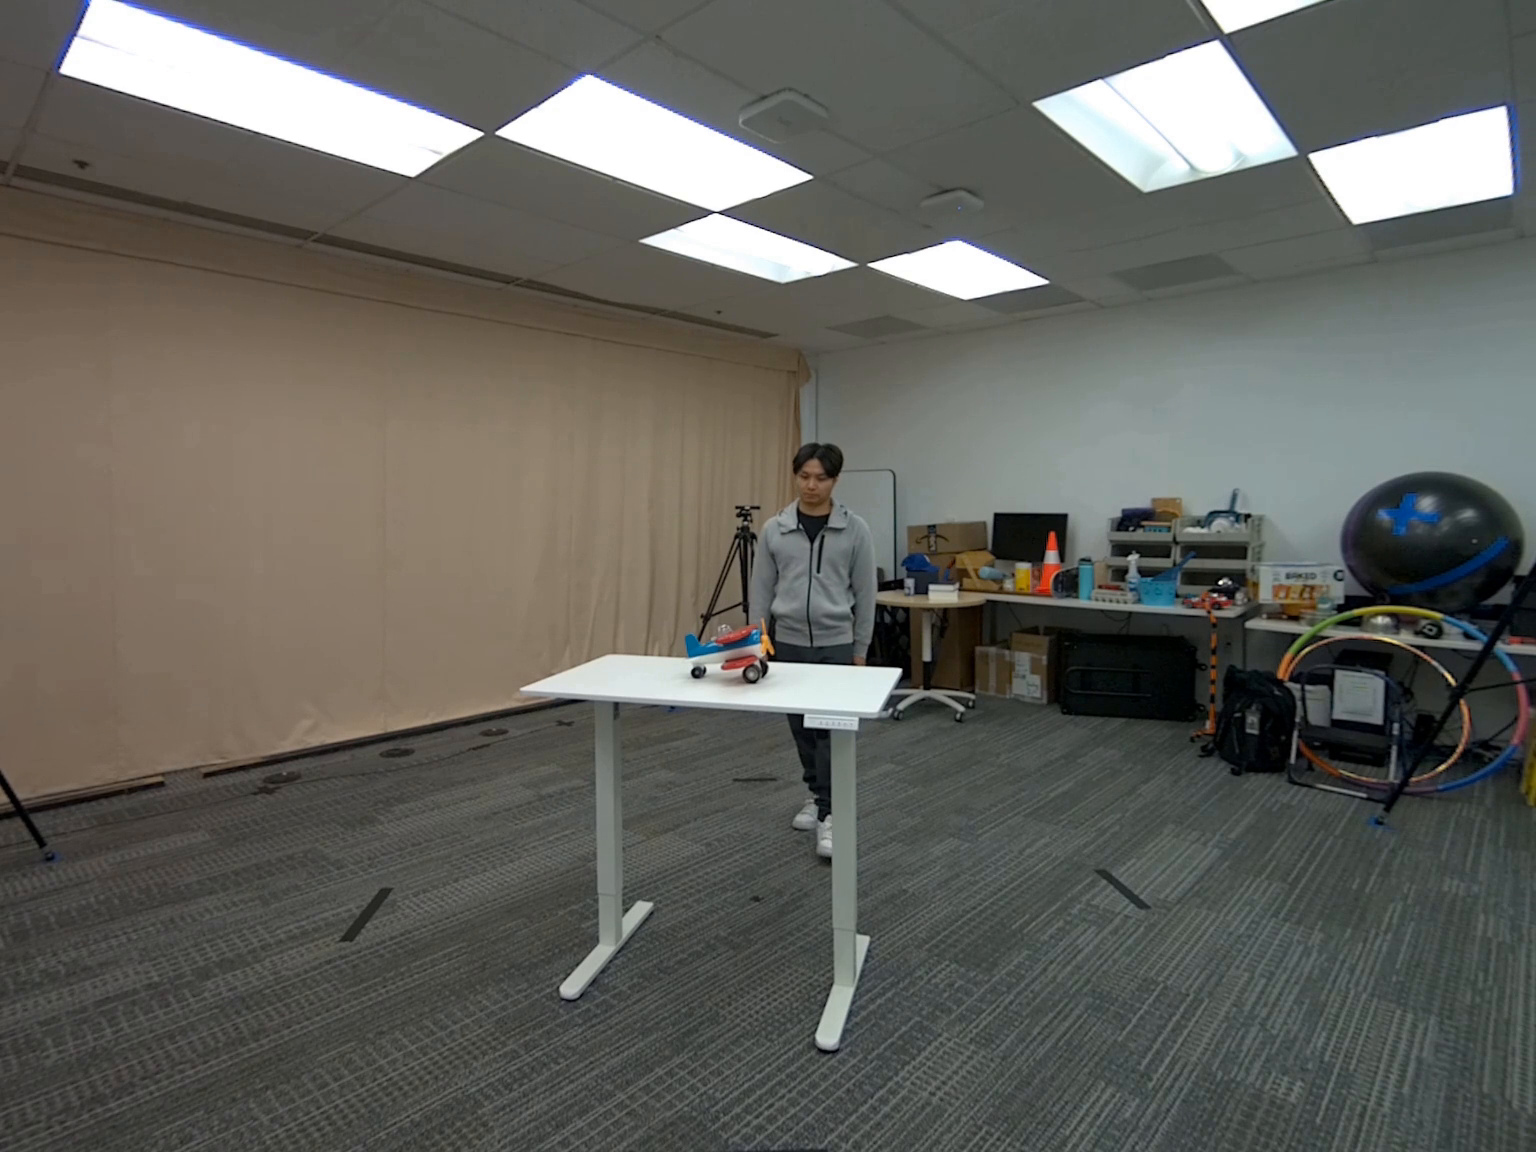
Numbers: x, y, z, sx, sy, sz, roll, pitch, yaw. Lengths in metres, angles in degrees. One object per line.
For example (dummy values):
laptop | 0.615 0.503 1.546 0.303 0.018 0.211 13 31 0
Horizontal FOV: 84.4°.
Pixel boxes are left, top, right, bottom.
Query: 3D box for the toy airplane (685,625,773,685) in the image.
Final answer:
toy airplane | -0.125 0.231 2.462 0.256 0.156 0.255 -1 4 -12
